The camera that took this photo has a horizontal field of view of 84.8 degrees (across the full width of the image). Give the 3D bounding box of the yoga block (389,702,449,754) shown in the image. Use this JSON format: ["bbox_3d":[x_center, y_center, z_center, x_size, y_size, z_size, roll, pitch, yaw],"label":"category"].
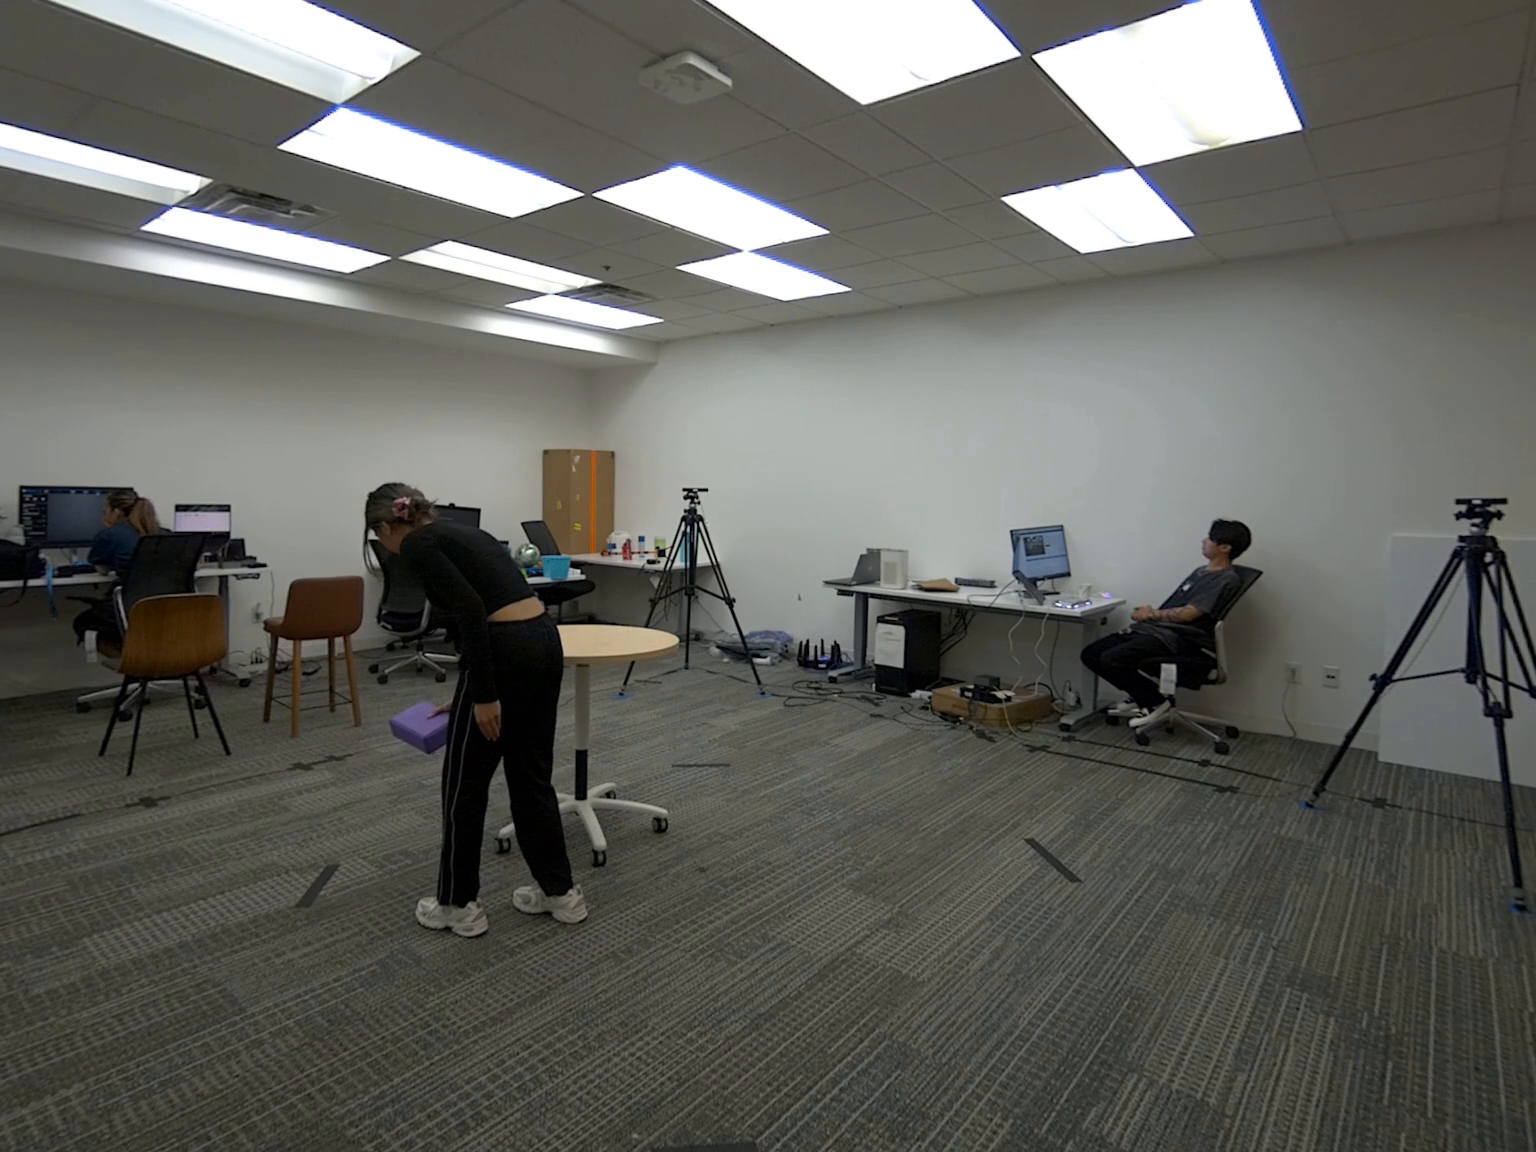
[{"bbox_3d":[-1.225,0.533,2.980,0.236,0.075,0.147,7,23,29],"label":"yoga block"}]
